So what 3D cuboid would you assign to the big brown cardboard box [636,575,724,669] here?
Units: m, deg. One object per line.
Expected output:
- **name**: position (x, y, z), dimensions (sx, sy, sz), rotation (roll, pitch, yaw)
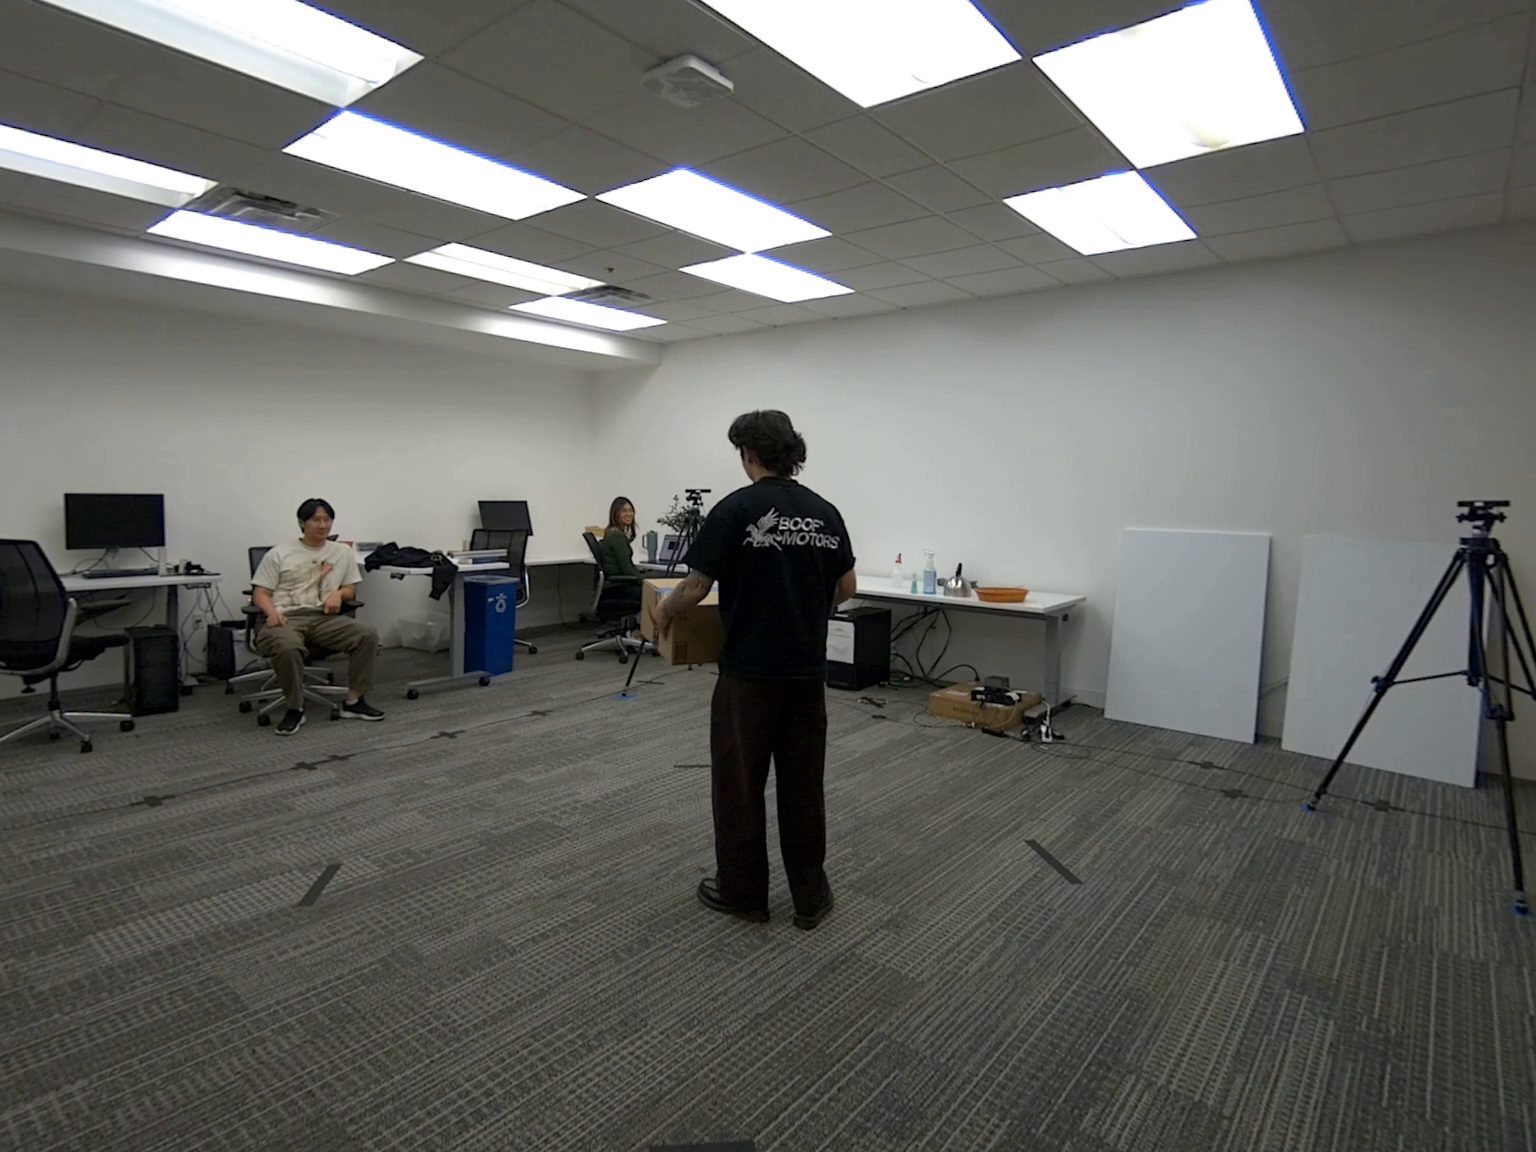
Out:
- **big brown cardboard box**: position (-0.154, 0.150, 3.182), dimensions (0.576, 0.231, 0.431), rotation (-2, 12, -22)
